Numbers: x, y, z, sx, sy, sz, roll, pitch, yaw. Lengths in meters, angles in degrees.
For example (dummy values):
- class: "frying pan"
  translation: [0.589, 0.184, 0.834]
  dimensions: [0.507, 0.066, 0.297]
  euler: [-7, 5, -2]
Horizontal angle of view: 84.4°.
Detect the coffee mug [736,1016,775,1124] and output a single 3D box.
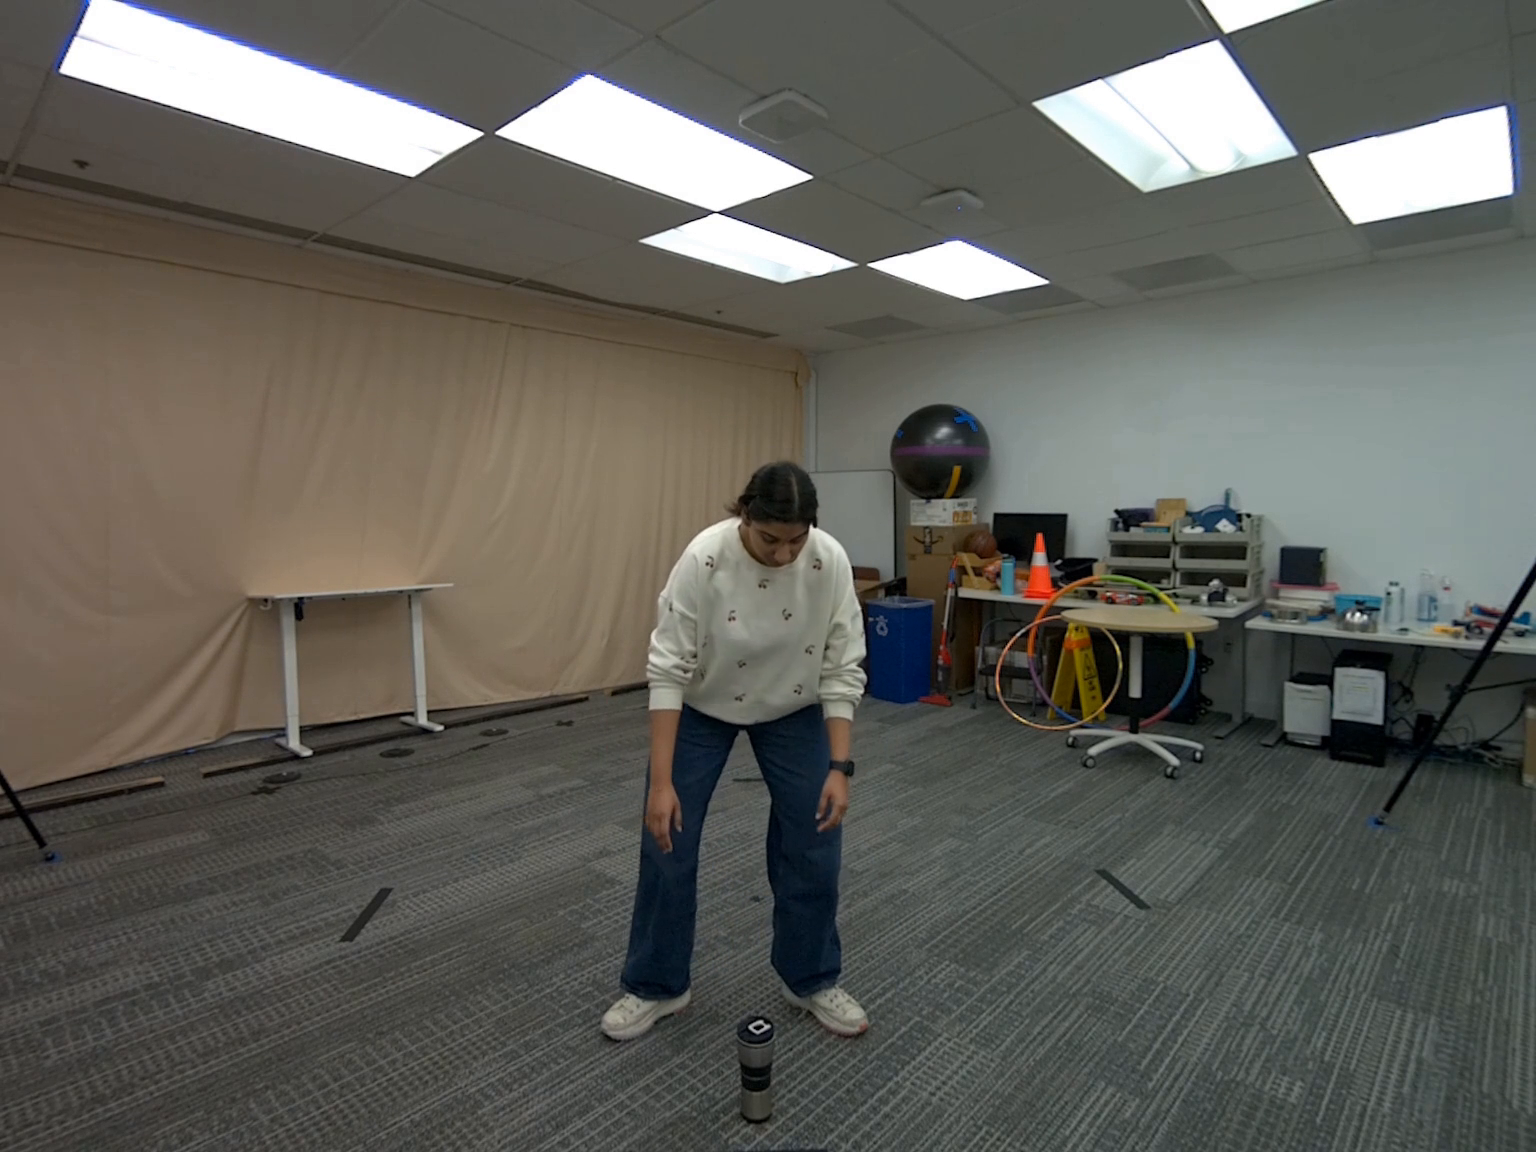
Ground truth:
- class: "coffee mug"
  translation: [-0.010, 1.136, 1.935]
  dimensions: [0.090, 0.202, 0.118]
  euler: [-1, 6, 37]
